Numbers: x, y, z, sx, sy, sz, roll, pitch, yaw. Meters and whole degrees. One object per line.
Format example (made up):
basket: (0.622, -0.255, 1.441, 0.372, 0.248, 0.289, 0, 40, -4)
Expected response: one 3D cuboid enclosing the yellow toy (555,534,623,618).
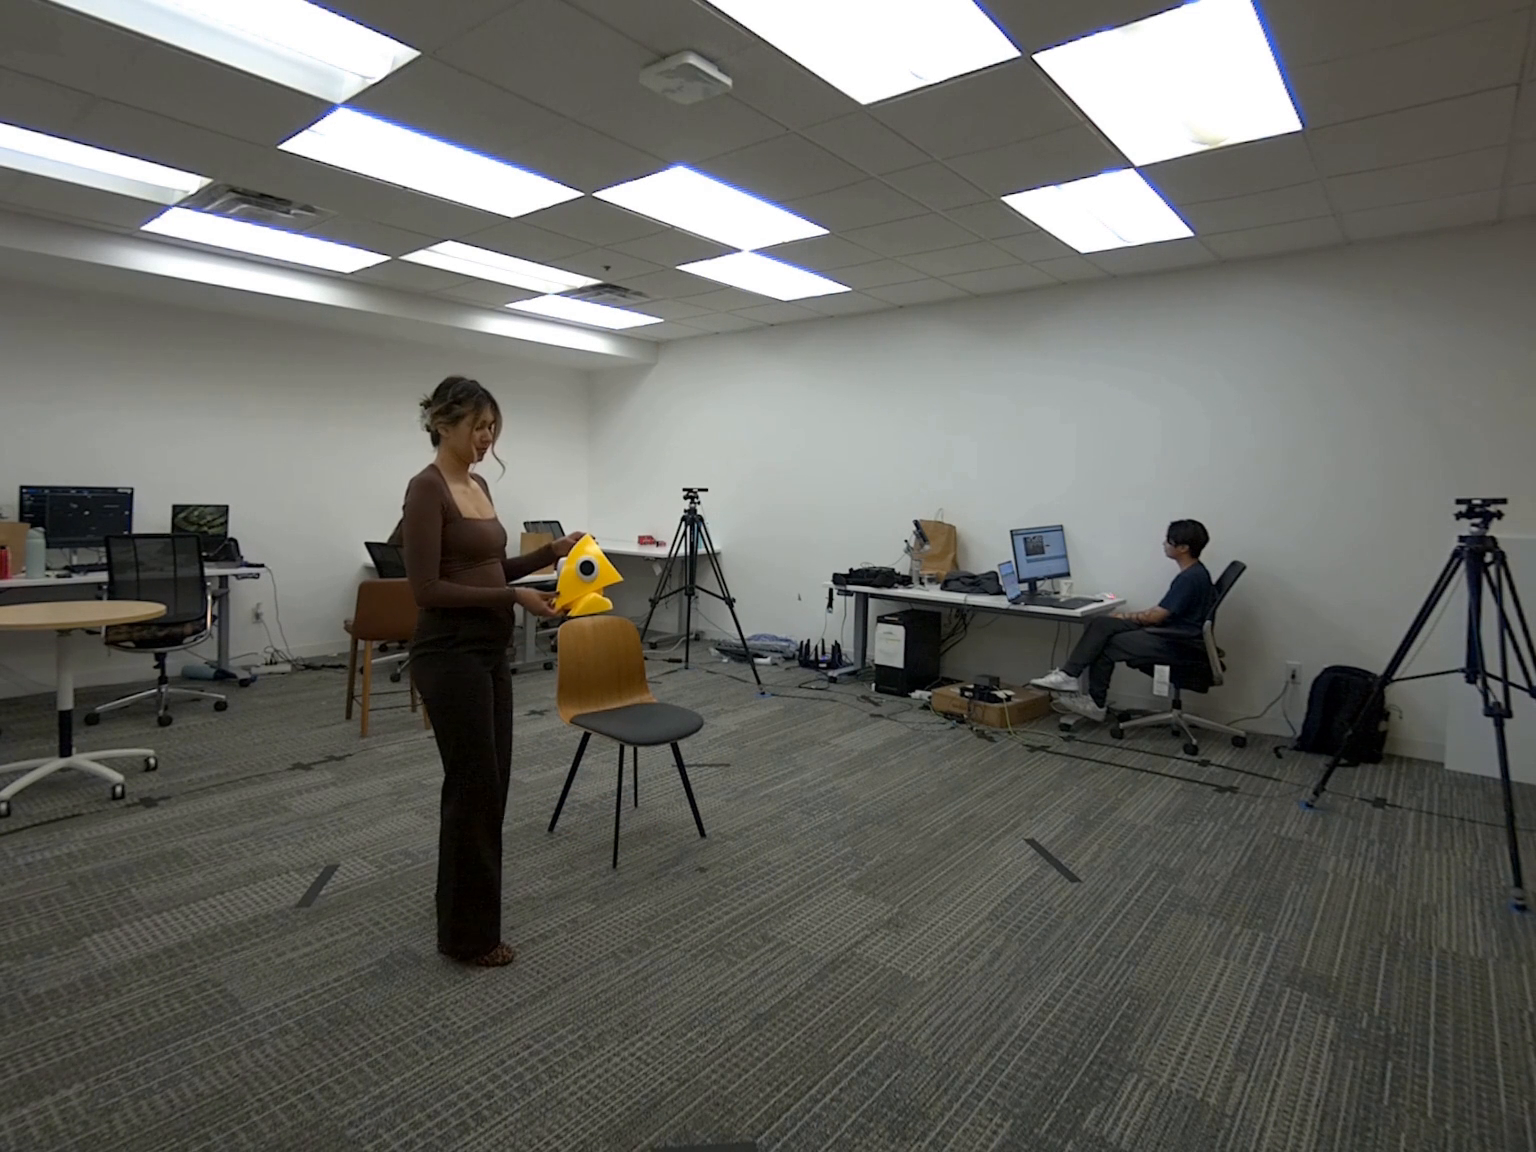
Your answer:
yellow toy: (-0.594, -0.004, 2.554, 0.211, 0.230, 0.188, -4, 4, 39)
